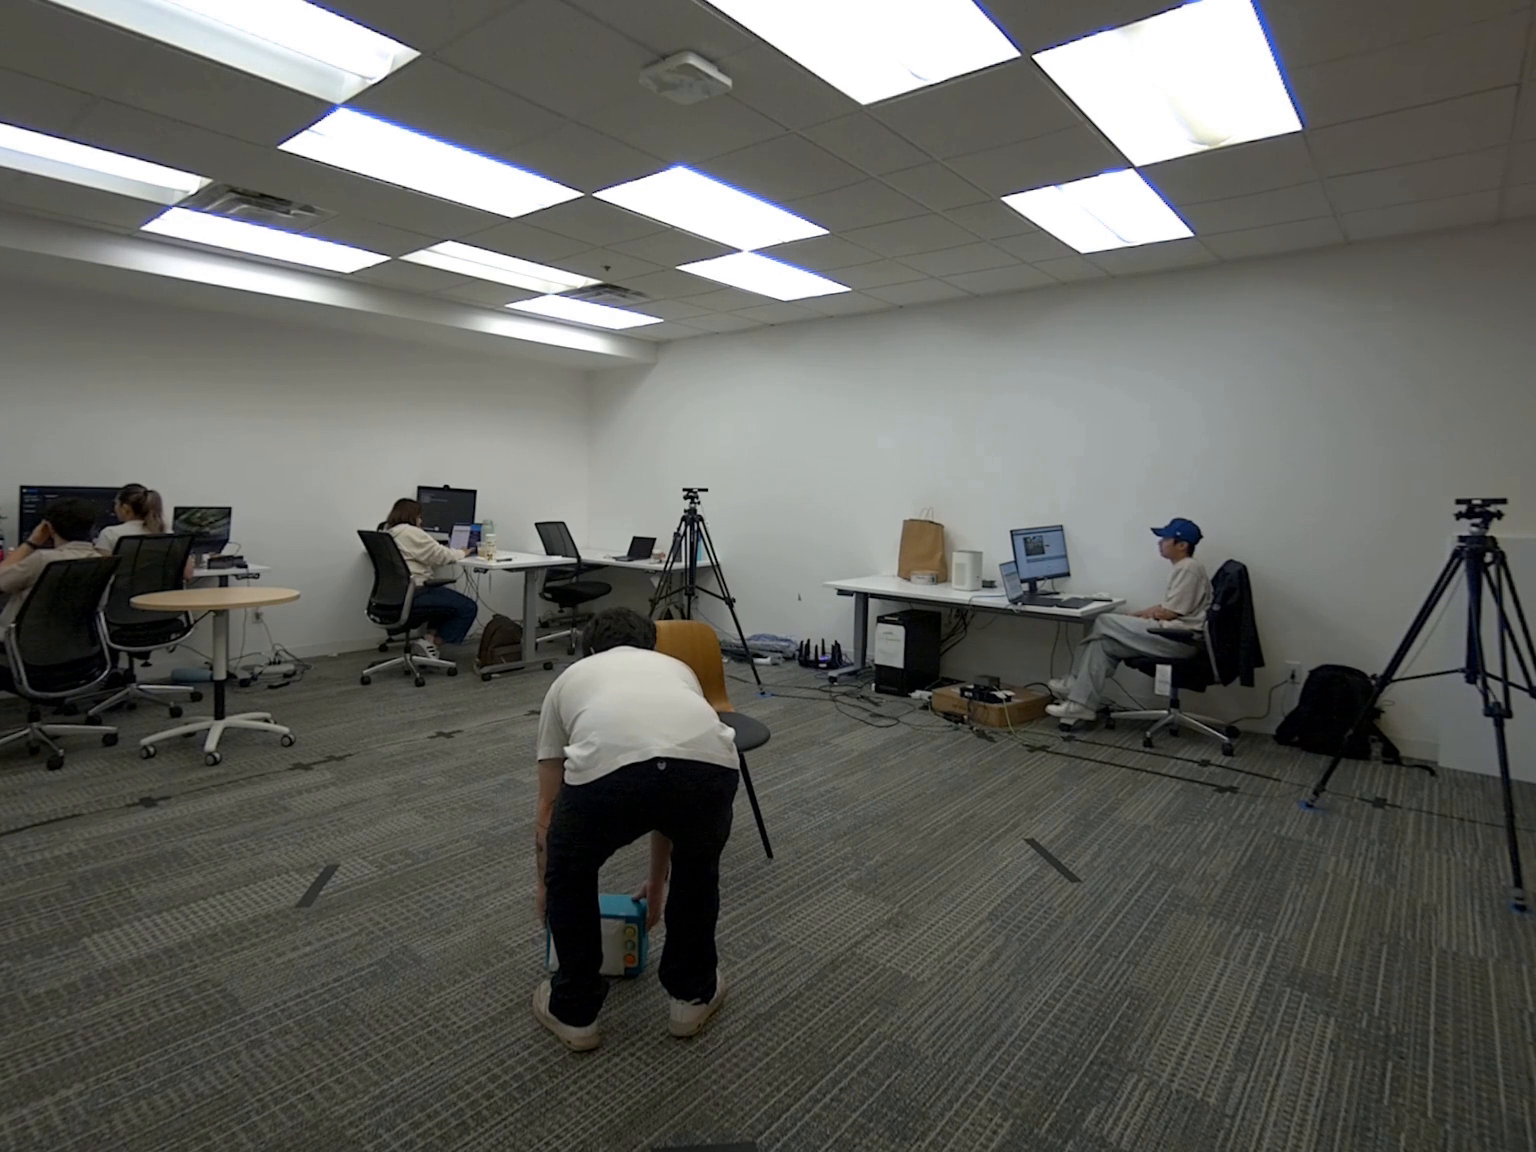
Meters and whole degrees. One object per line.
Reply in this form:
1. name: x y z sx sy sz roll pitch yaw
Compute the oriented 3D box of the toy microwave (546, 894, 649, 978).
1. toy microwave: -0.498 1.036 2.459 0.287 0.184 0.152 1 1 2
